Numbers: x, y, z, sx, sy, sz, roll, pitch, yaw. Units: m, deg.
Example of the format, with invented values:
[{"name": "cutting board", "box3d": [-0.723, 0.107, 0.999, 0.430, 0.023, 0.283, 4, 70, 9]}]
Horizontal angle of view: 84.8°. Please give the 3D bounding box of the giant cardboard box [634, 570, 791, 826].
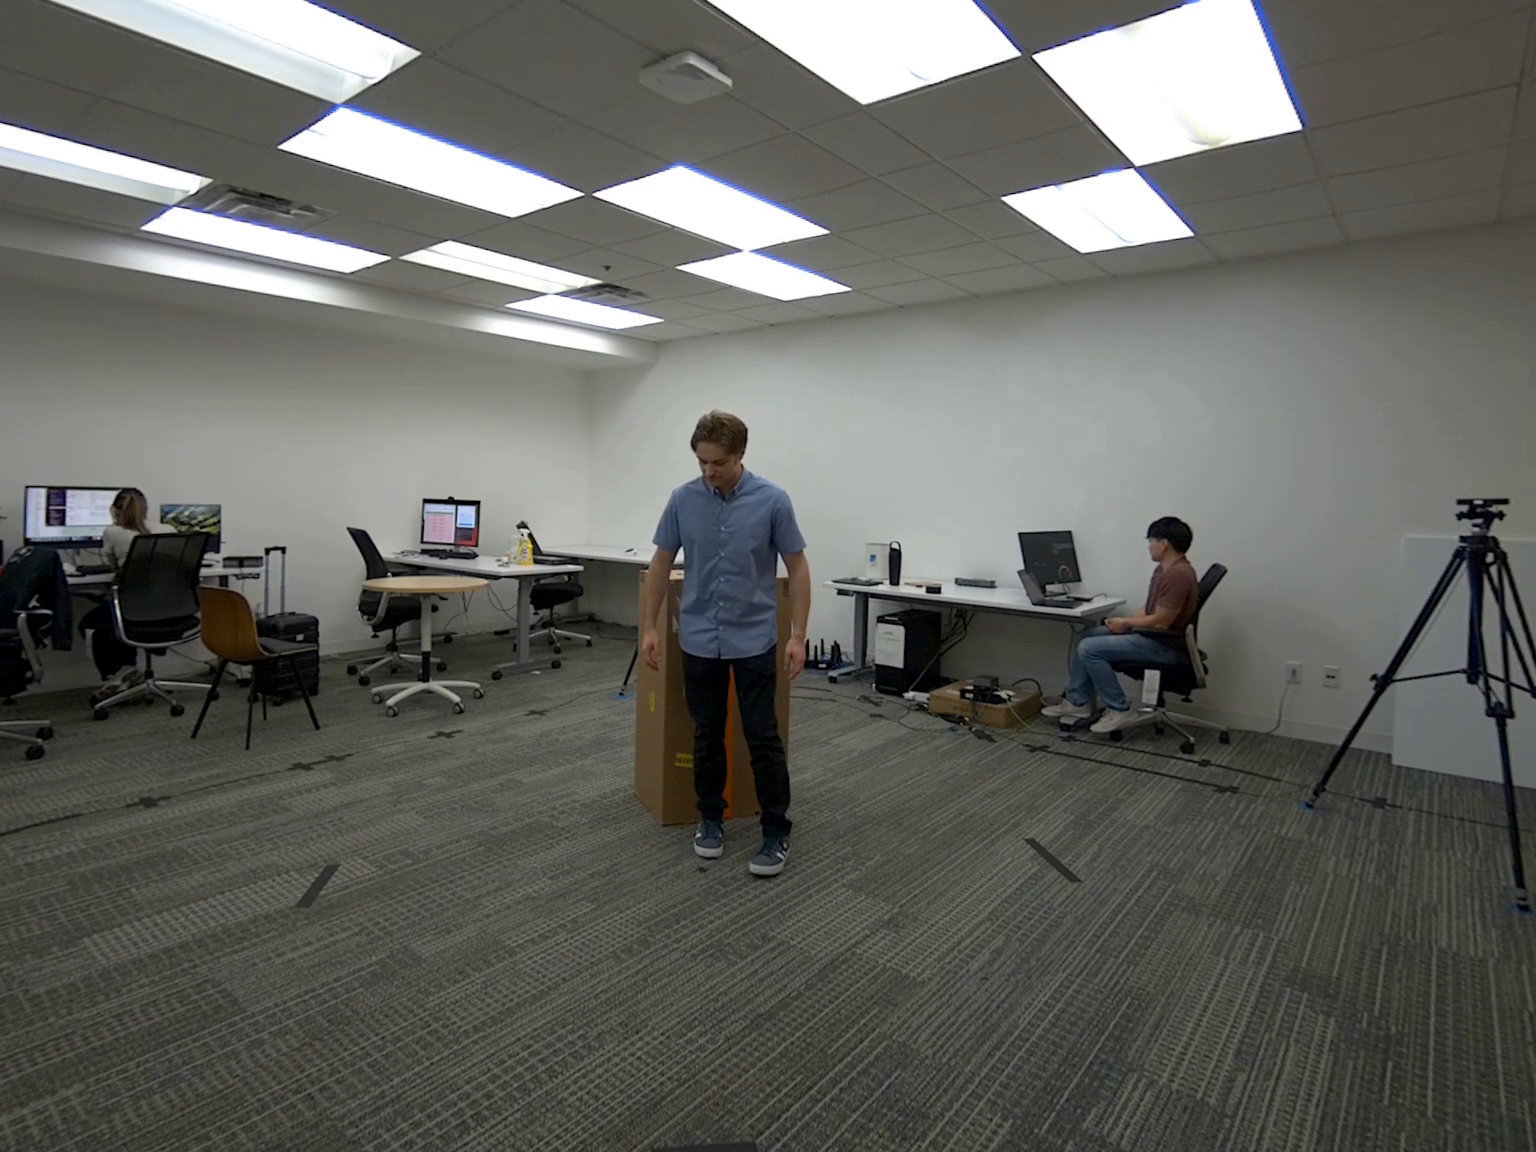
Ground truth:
[{"name": "giant cardboard box", "box3d": [-0.260, 0.499, 3.774, 0.571, 1.025, 0.458, 1, 2, -24]}]
